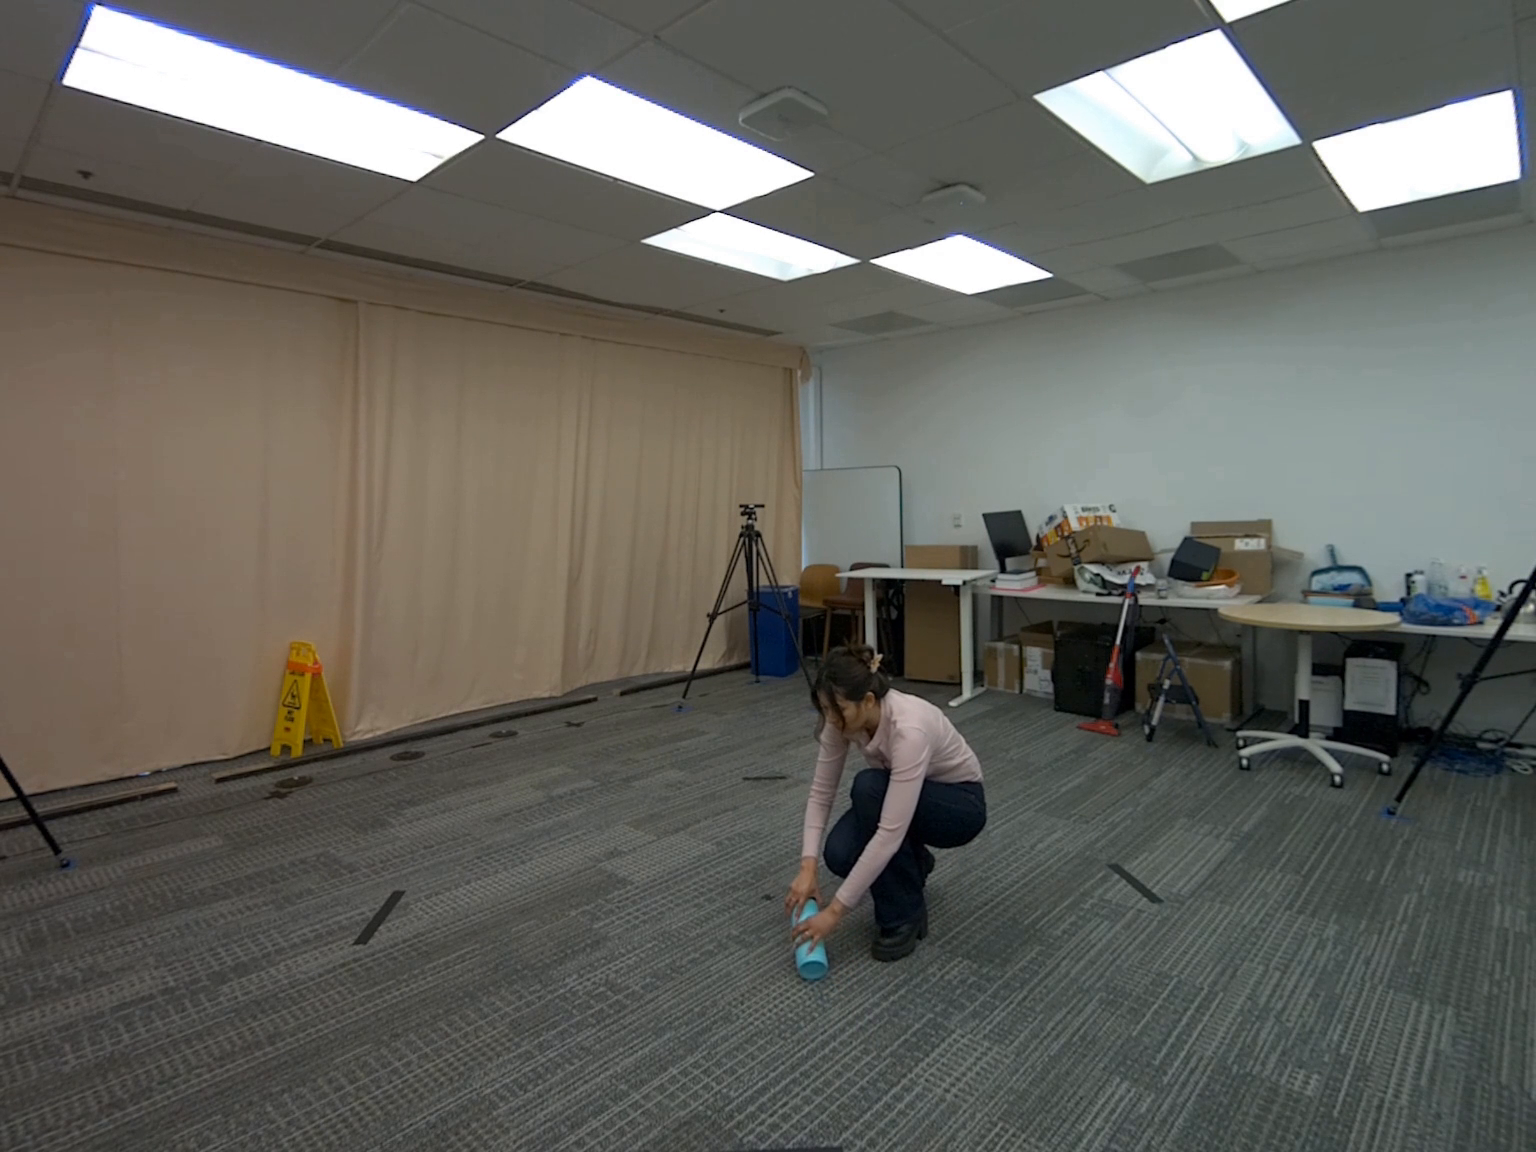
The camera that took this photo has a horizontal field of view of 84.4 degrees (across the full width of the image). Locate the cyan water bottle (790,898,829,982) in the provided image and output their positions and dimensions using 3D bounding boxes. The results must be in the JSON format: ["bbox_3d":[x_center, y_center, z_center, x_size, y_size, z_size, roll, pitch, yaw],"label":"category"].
[{"bbox_3d":[0.125,1.089,2.549,0.092,0.091,0.287,-1,21,-1],"label":"cyan water bottle"}]
